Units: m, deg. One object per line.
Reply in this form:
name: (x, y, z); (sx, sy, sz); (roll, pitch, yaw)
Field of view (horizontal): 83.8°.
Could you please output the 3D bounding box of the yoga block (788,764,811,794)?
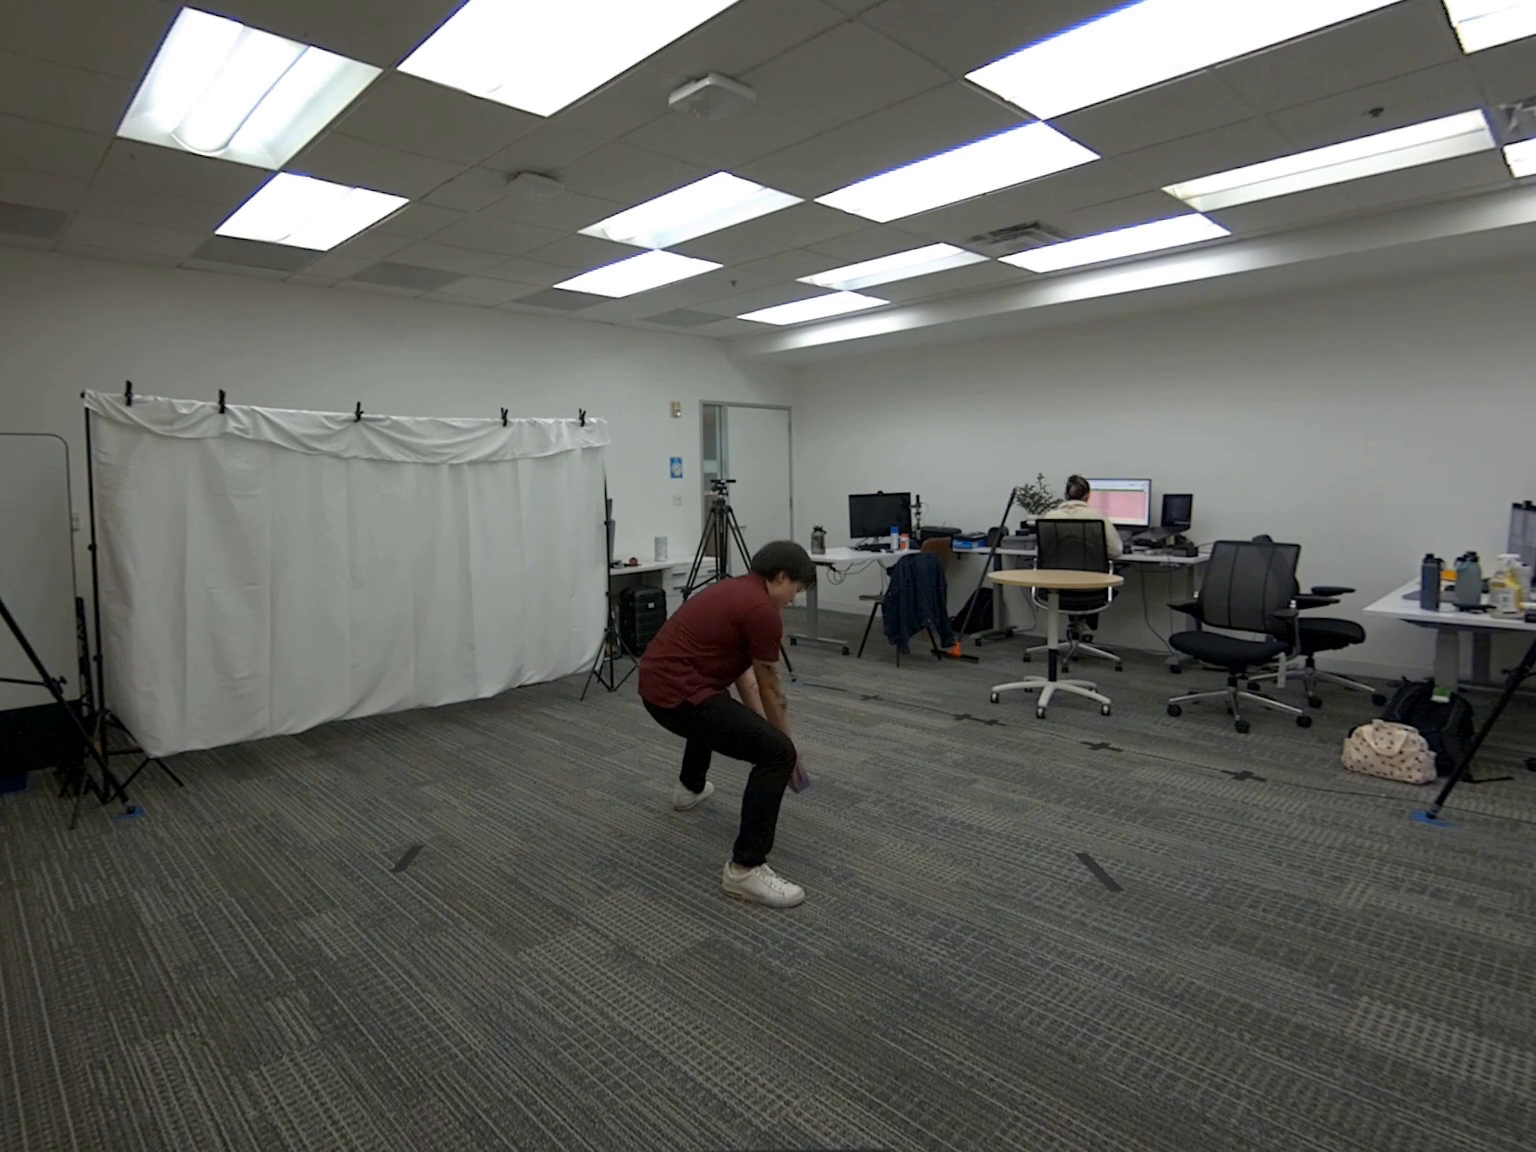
yoga block: (0.081, 0.735, 3.400); (0.076, 0.147, 0.234); (-27, 13, -13)
